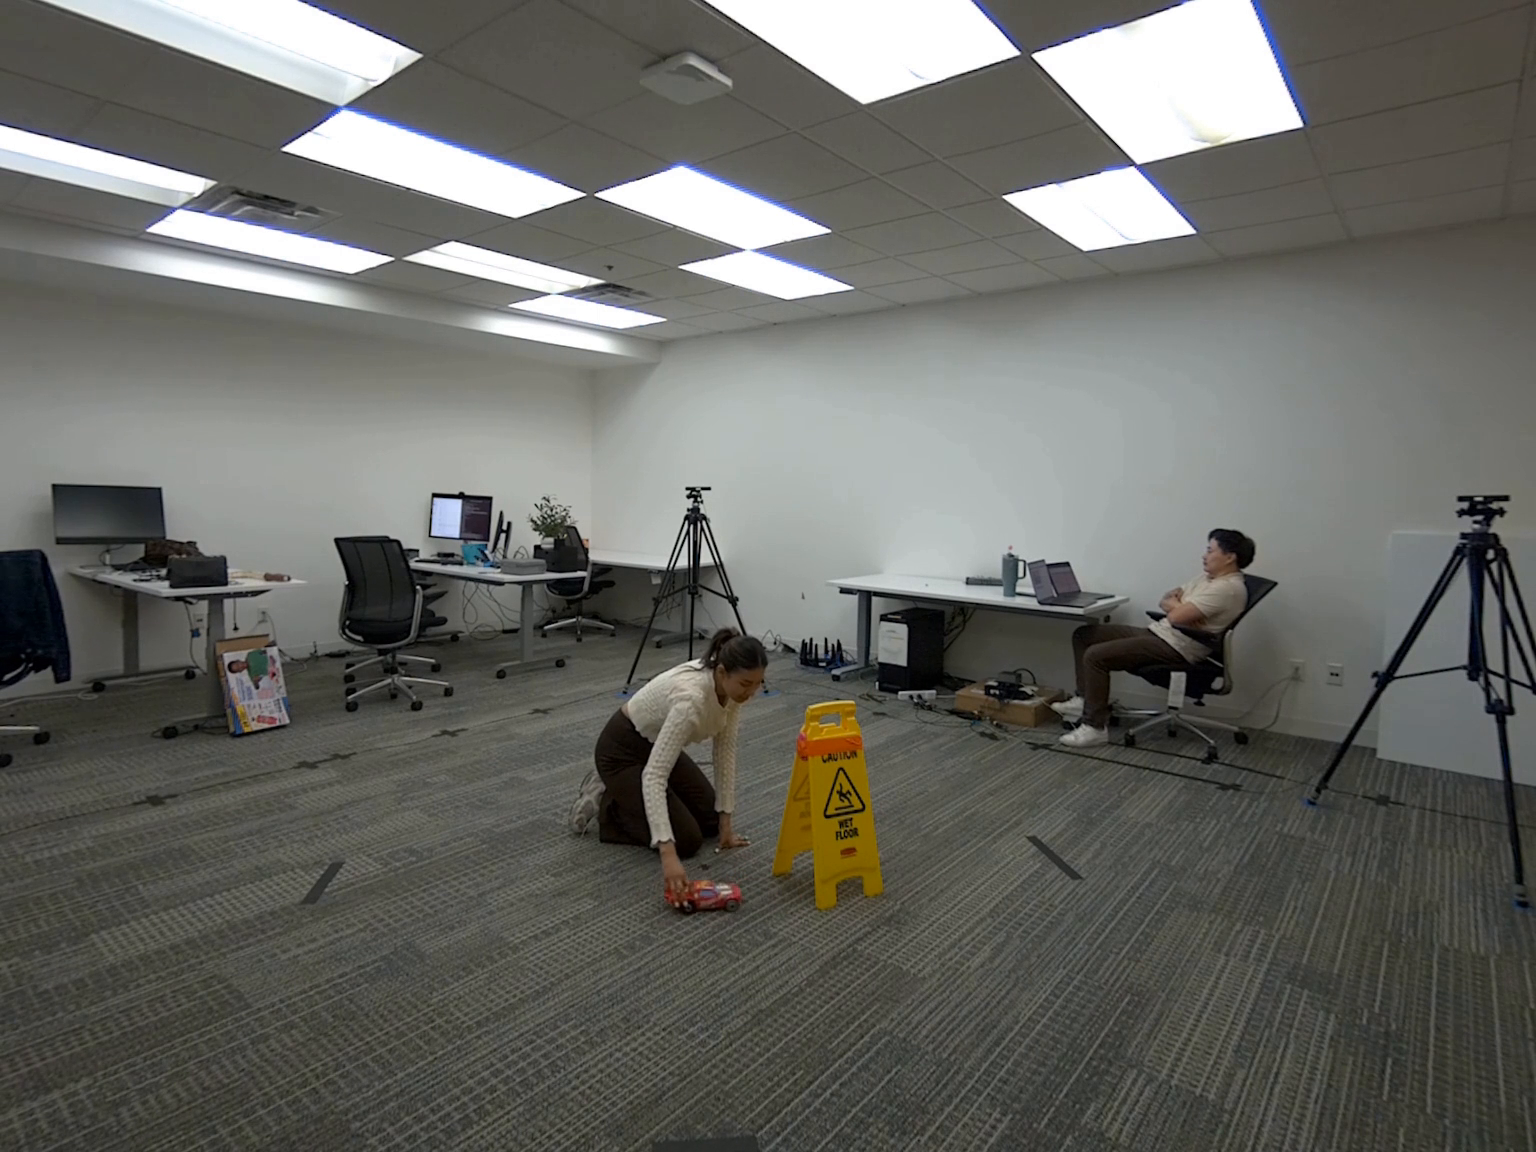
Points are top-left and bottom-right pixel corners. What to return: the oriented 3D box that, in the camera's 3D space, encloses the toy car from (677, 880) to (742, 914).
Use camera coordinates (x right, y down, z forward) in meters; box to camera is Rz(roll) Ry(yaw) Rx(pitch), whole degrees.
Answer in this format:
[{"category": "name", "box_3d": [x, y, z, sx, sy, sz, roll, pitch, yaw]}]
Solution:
[{"category": "toy car", "box_3d": [-0.204, 1.063, 2.836, 0.251, 0.083, 0.132, 9, 1, -10]}]
